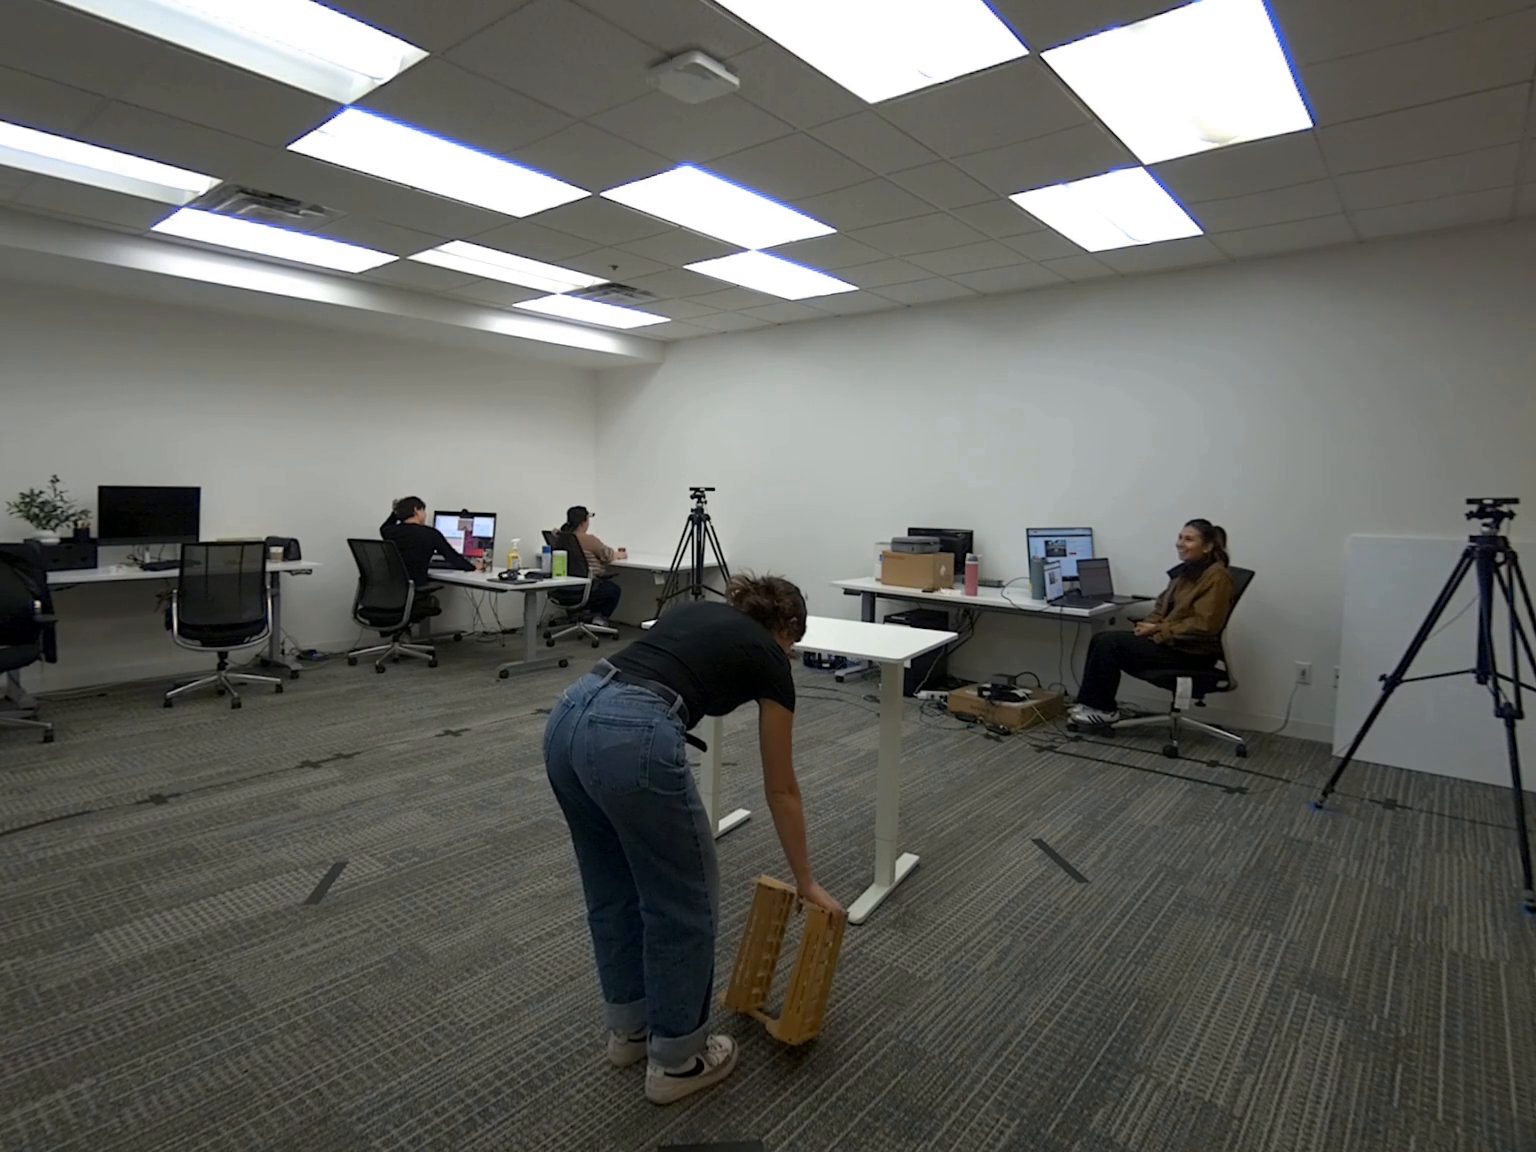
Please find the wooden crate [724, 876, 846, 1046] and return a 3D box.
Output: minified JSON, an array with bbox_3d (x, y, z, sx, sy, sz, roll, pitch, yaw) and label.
[{"bbox_3d":[0.015,0.965,2.183,0.281,0.327,0.291,11,-17,22],"label":"wooden crate"}]
